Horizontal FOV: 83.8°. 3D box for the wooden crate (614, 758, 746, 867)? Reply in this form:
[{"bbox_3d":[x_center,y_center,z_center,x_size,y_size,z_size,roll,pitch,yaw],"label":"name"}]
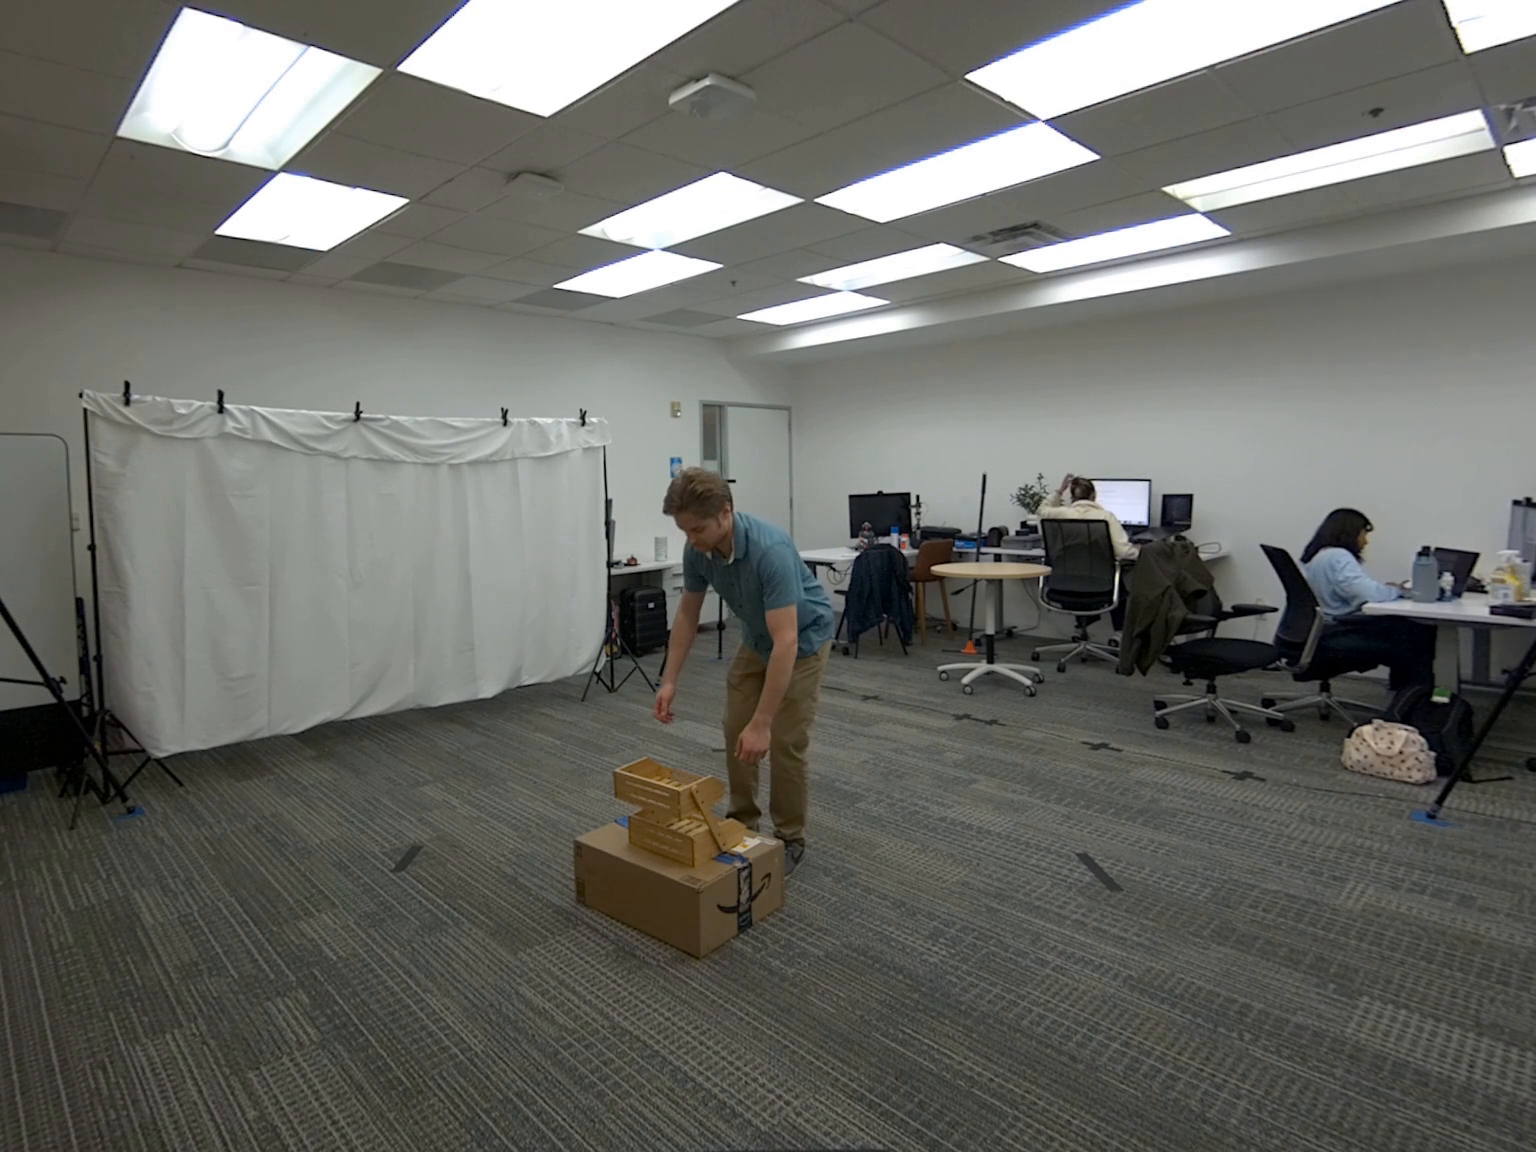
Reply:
[{"bbox_3d":[-0.281,0.744,2.785,0.334,0.272,0.295,3,8,40],"label":"wooden crate"}]
